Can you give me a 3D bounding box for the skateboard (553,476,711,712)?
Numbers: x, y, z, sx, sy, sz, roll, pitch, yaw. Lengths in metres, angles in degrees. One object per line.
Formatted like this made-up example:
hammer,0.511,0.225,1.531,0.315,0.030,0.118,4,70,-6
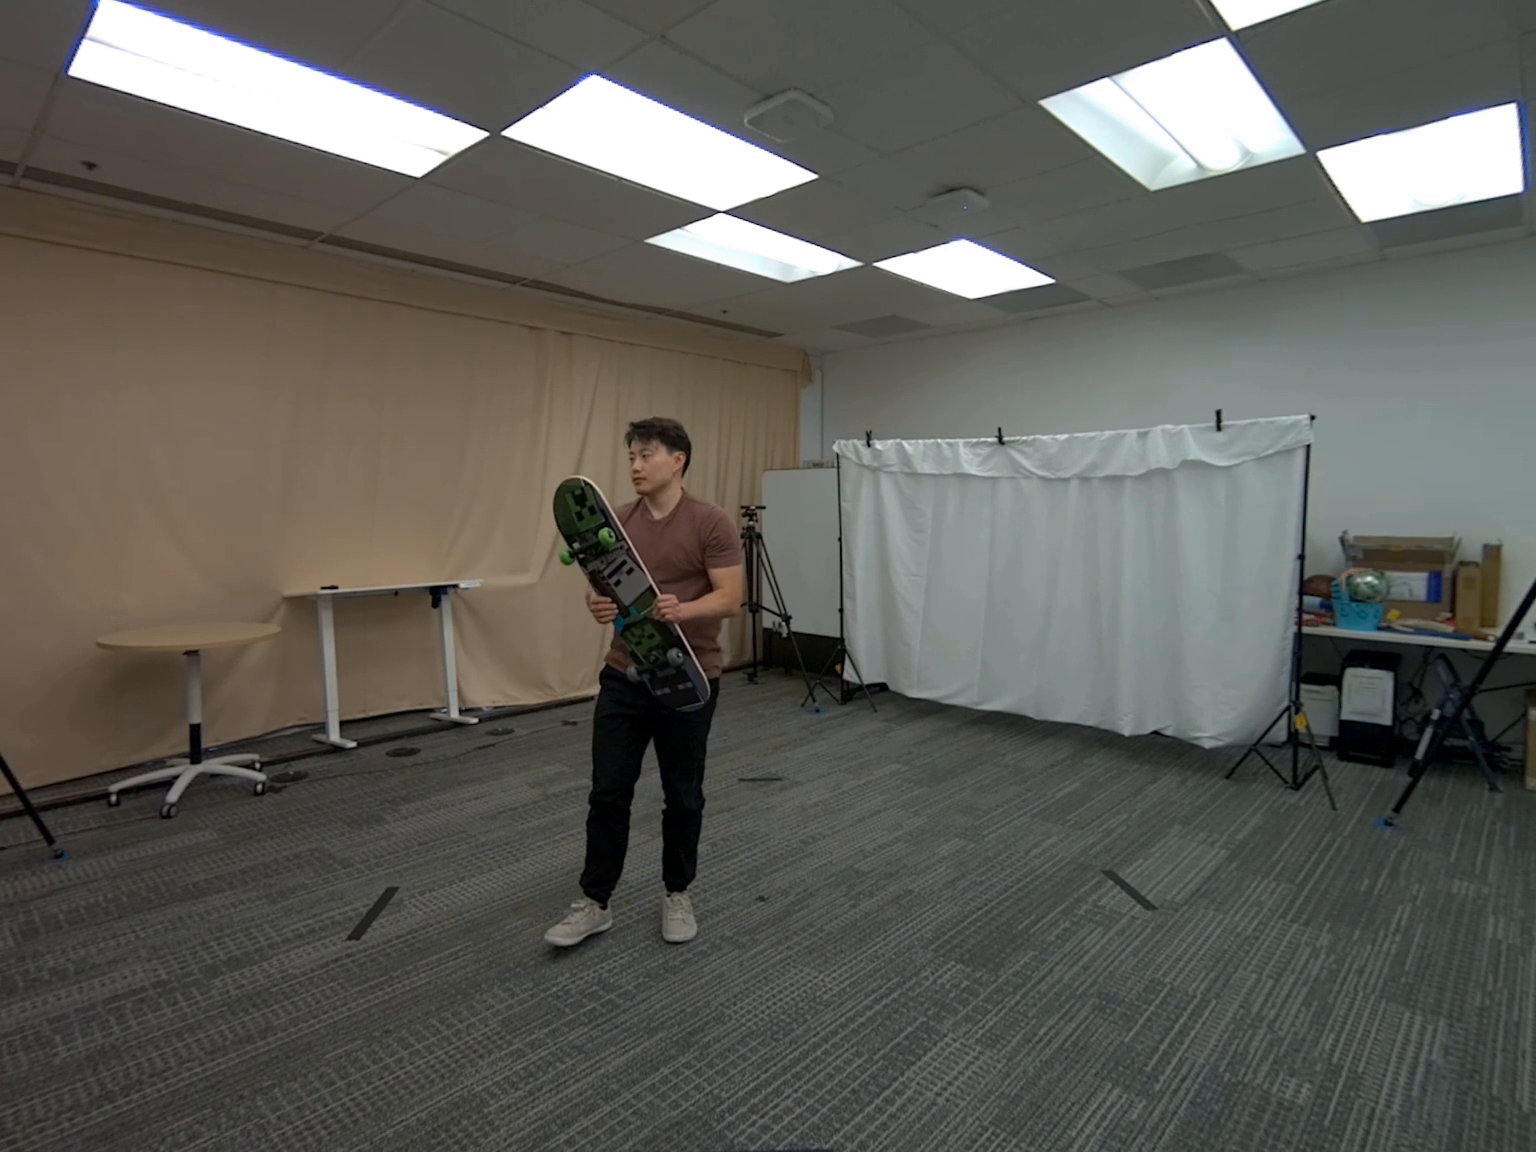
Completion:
skateboard,-0.416,0.087,2.449,0.197,0.779,0.109,-24,8,28
